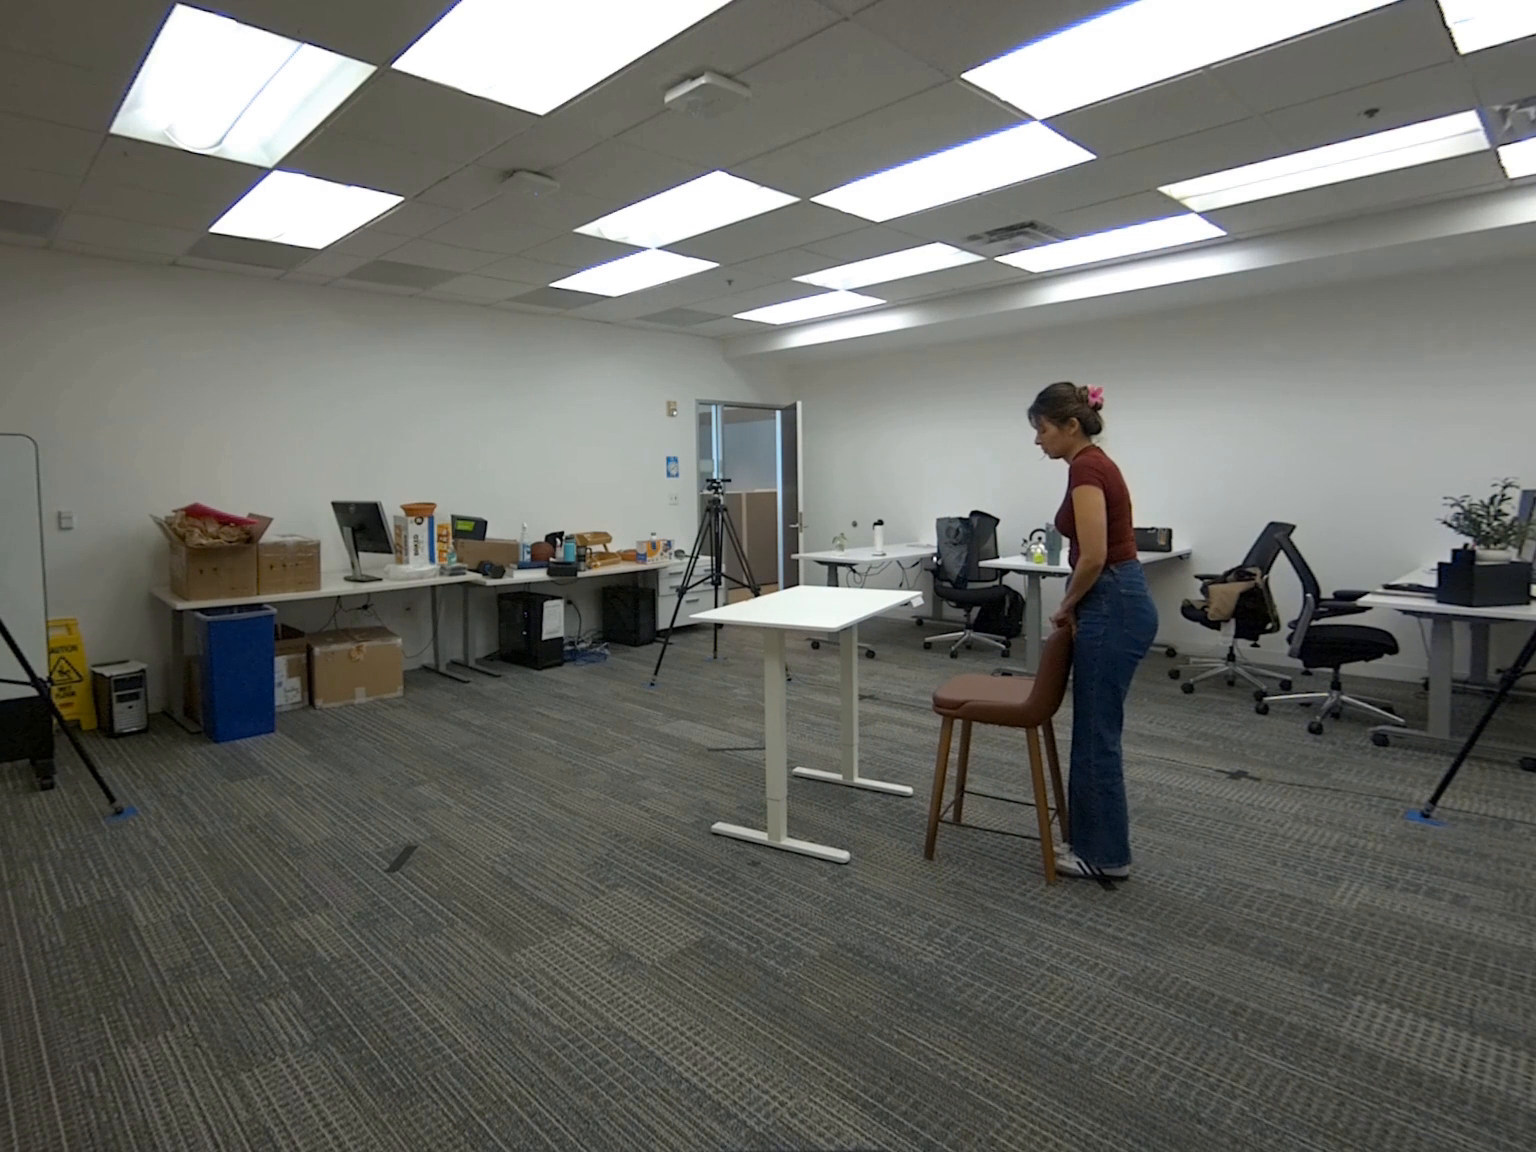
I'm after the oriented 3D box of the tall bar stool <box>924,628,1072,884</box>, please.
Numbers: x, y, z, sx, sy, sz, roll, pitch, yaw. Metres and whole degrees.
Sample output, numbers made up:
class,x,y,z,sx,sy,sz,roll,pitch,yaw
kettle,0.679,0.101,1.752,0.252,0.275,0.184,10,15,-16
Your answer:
class,x,y,z,sx,sy,sz,roll,pitch,yaw
tall bar stool,0.865,0.586,3.140,0.480,0.886,0.446,4,5,30
